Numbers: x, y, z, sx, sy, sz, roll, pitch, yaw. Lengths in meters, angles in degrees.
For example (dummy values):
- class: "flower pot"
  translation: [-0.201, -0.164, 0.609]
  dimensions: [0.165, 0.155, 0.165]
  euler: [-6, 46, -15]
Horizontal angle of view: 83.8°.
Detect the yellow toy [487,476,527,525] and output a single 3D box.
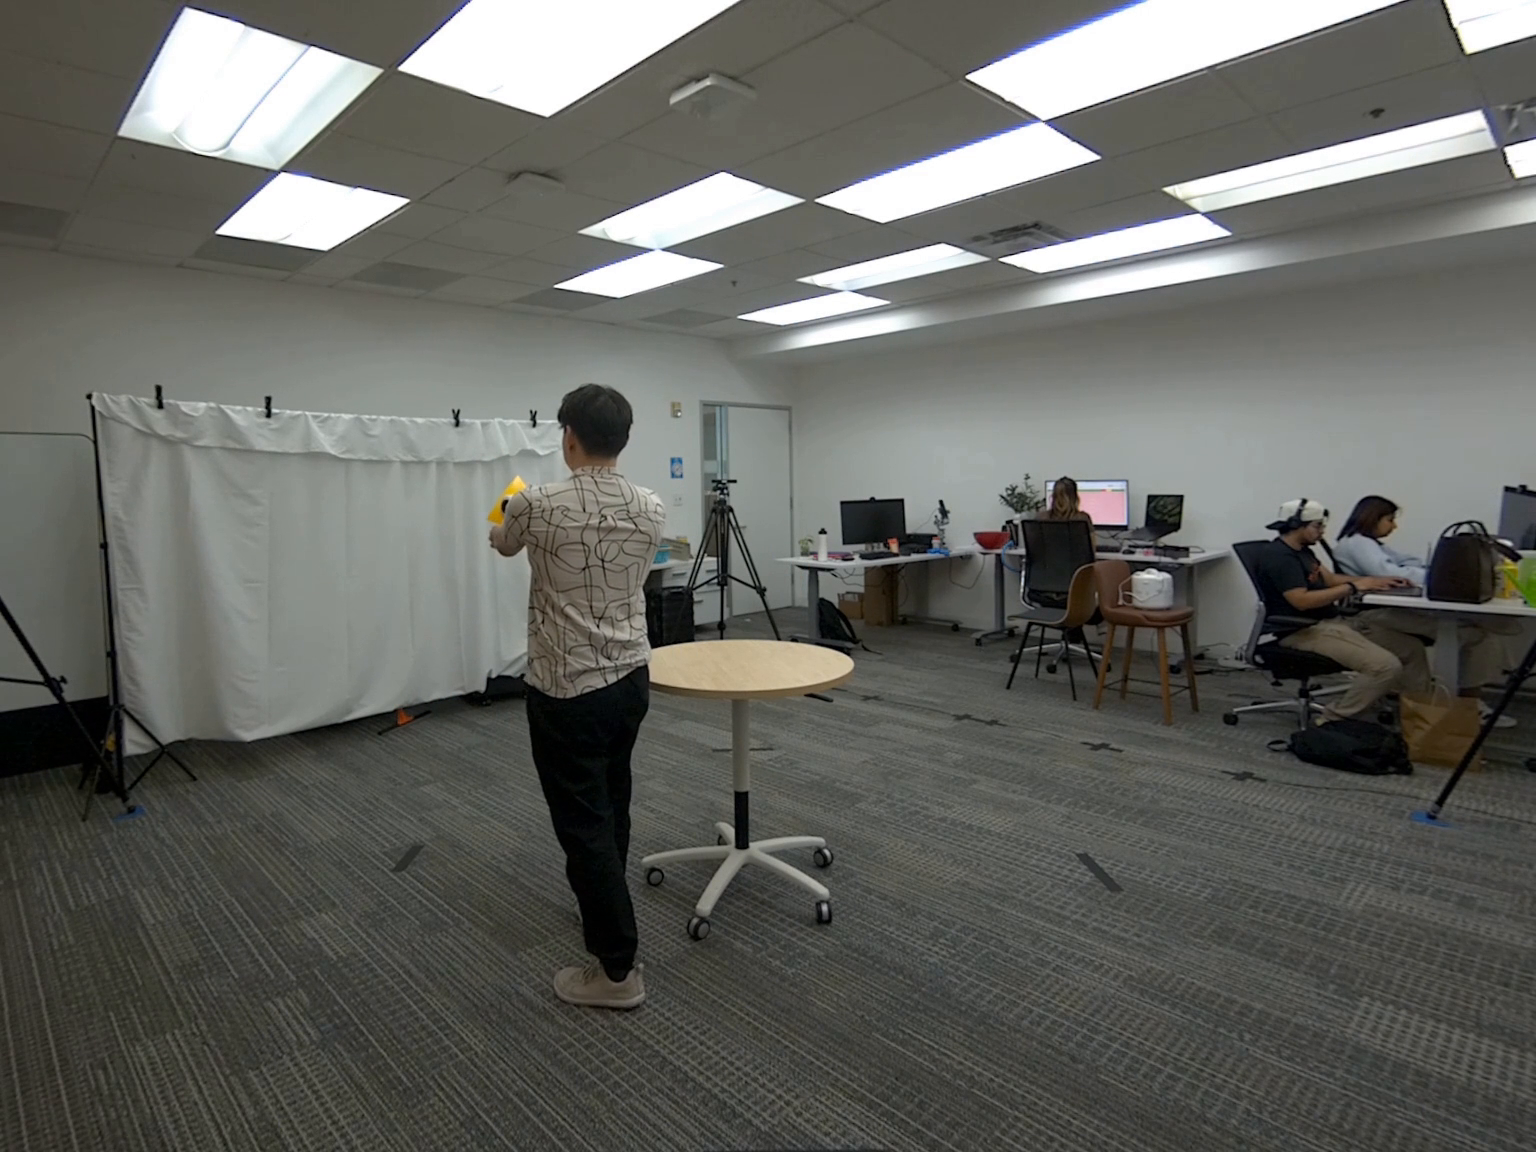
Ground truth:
- class: "yellow toy"
  translation: [-0.819, -0.227, 2.897]
  dimensions: [0.199, 0.229, 0.199]
  euler: [-3, 9, -34]
